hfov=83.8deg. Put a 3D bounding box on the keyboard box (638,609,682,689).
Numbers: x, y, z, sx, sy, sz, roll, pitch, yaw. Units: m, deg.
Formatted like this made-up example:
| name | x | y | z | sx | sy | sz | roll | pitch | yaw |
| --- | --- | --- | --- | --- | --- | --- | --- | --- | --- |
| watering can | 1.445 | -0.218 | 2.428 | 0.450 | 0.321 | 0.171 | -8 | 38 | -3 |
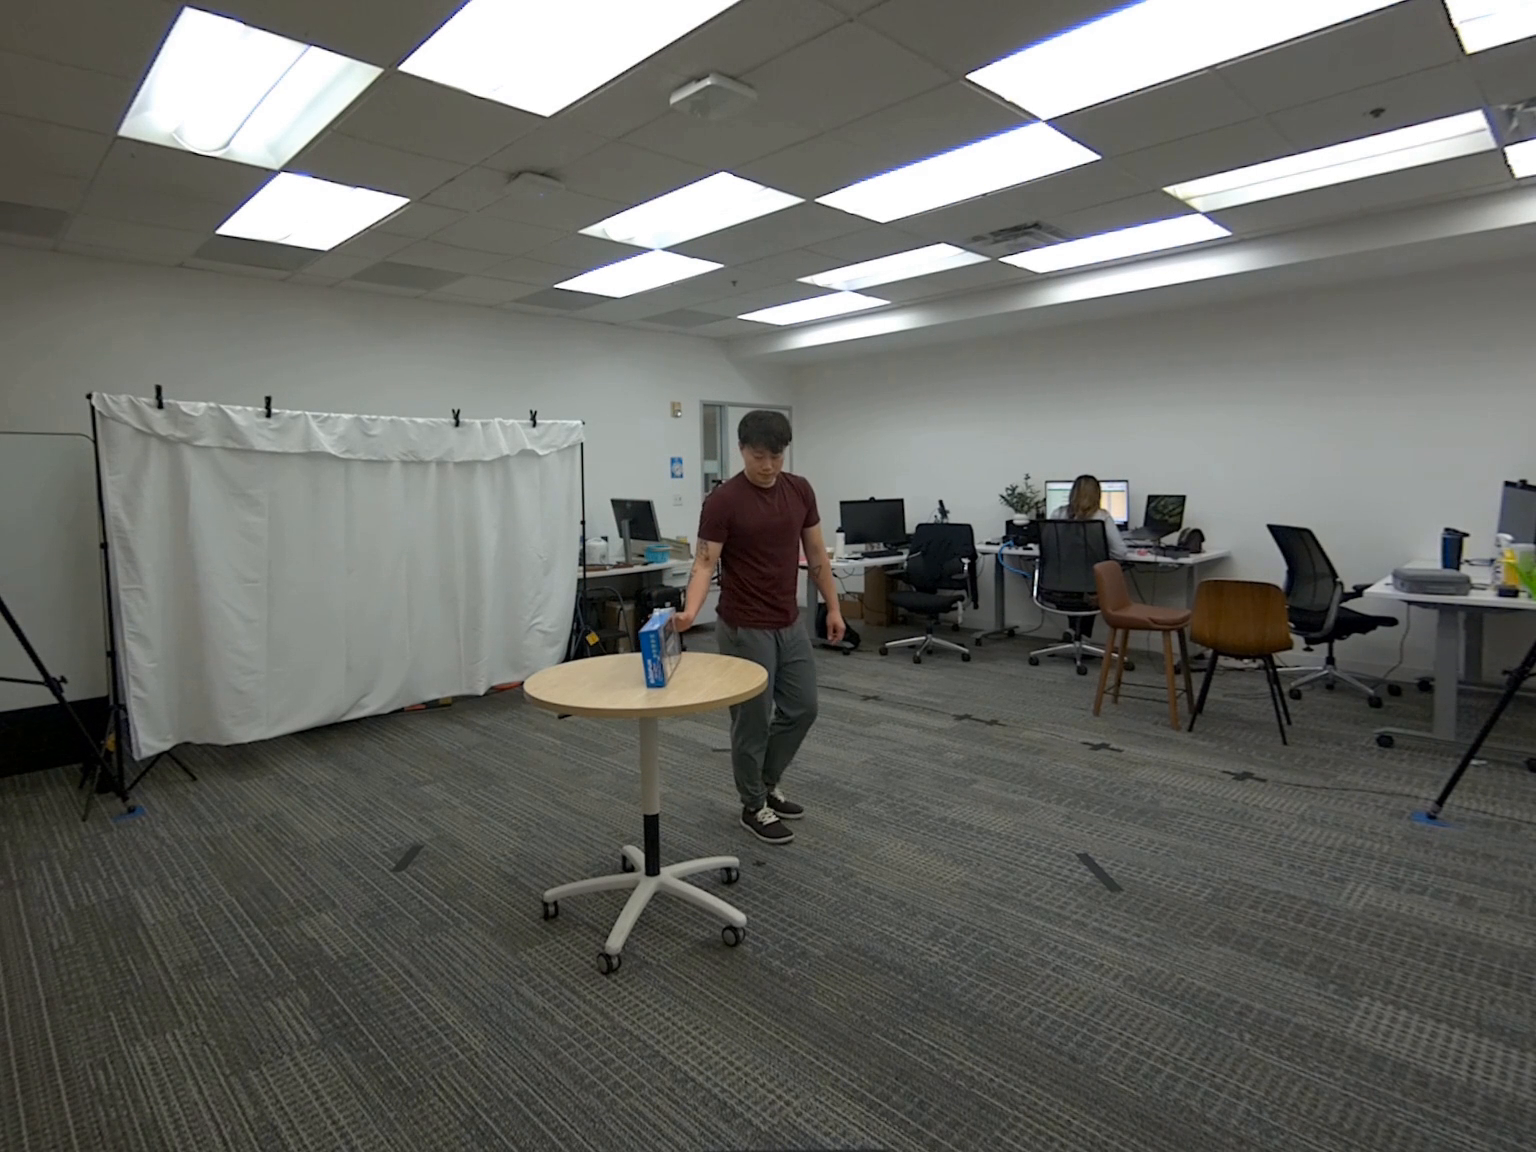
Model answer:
| name | x | y | z | sx | sy | sz | roll | pitch | yaw |
| --- | --- | --- | --- | --- | --- | --- | --- | --- | --- |
| keyboard box | -0.340 | 0.219 | 2.761 | 0.059 | 0.175 | 0.437 | -9 | 5 | 2 |
